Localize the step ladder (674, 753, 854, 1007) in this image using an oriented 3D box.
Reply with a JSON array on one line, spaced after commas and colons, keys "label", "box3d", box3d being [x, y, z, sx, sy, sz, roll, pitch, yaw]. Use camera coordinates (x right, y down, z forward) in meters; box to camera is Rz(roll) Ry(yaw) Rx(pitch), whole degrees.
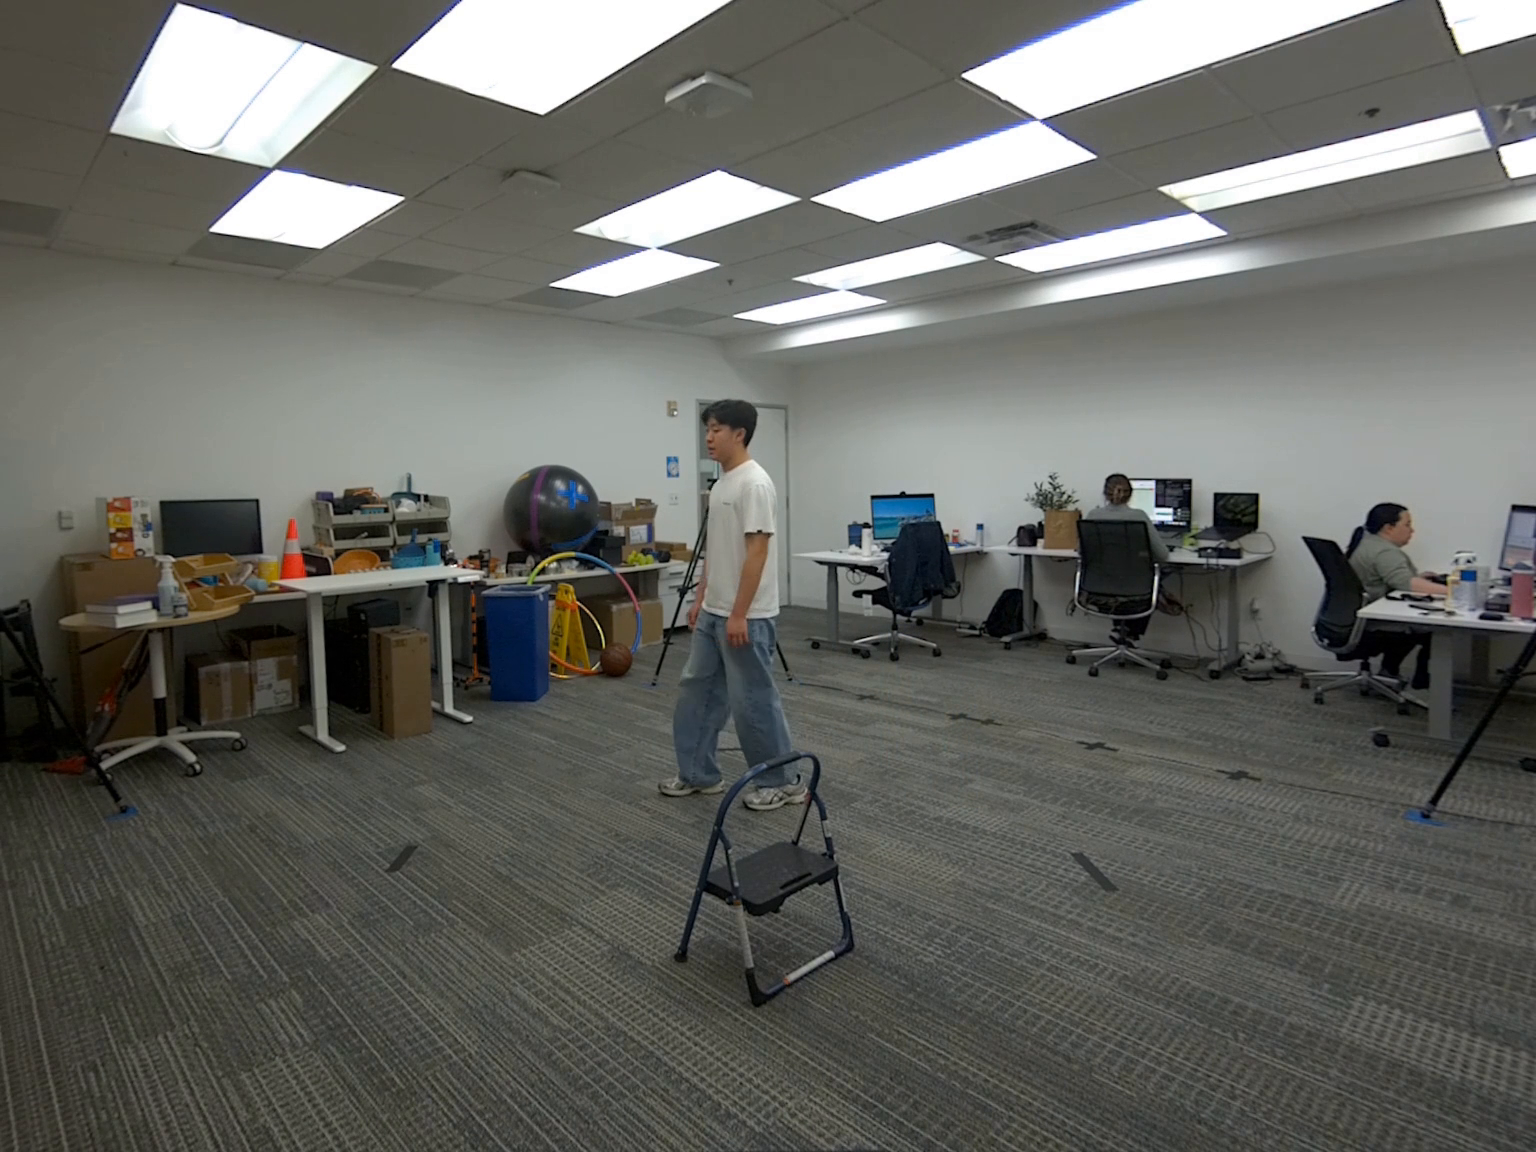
[{"label": "step ladder", "box3d": [-0.012, 0.814, 2.500, 0.360, 0.604, 0.419, 3, 6, 45]}]
